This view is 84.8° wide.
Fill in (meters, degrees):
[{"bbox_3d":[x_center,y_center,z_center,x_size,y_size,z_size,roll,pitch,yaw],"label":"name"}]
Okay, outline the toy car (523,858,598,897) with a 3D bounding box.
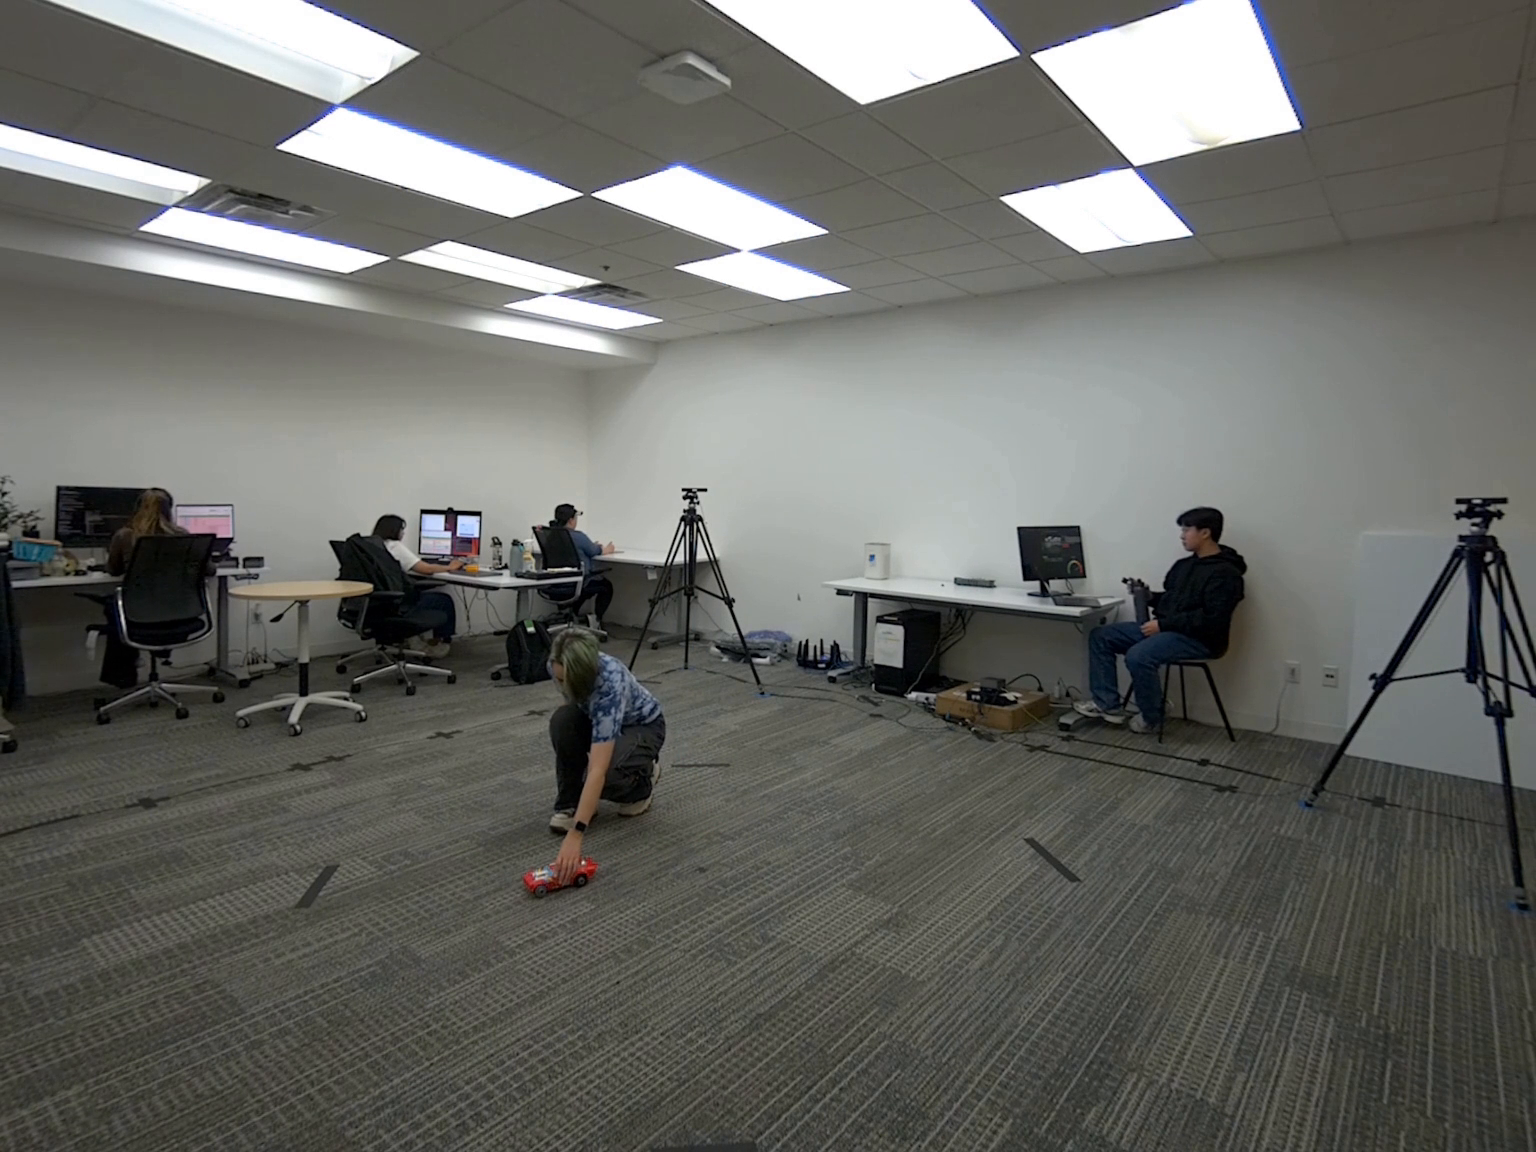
[{"bbox_3d":[-0.737,1.046,2.975,0.249,0.082,0.134,-15,11,-30],"label":"toy car"}]
